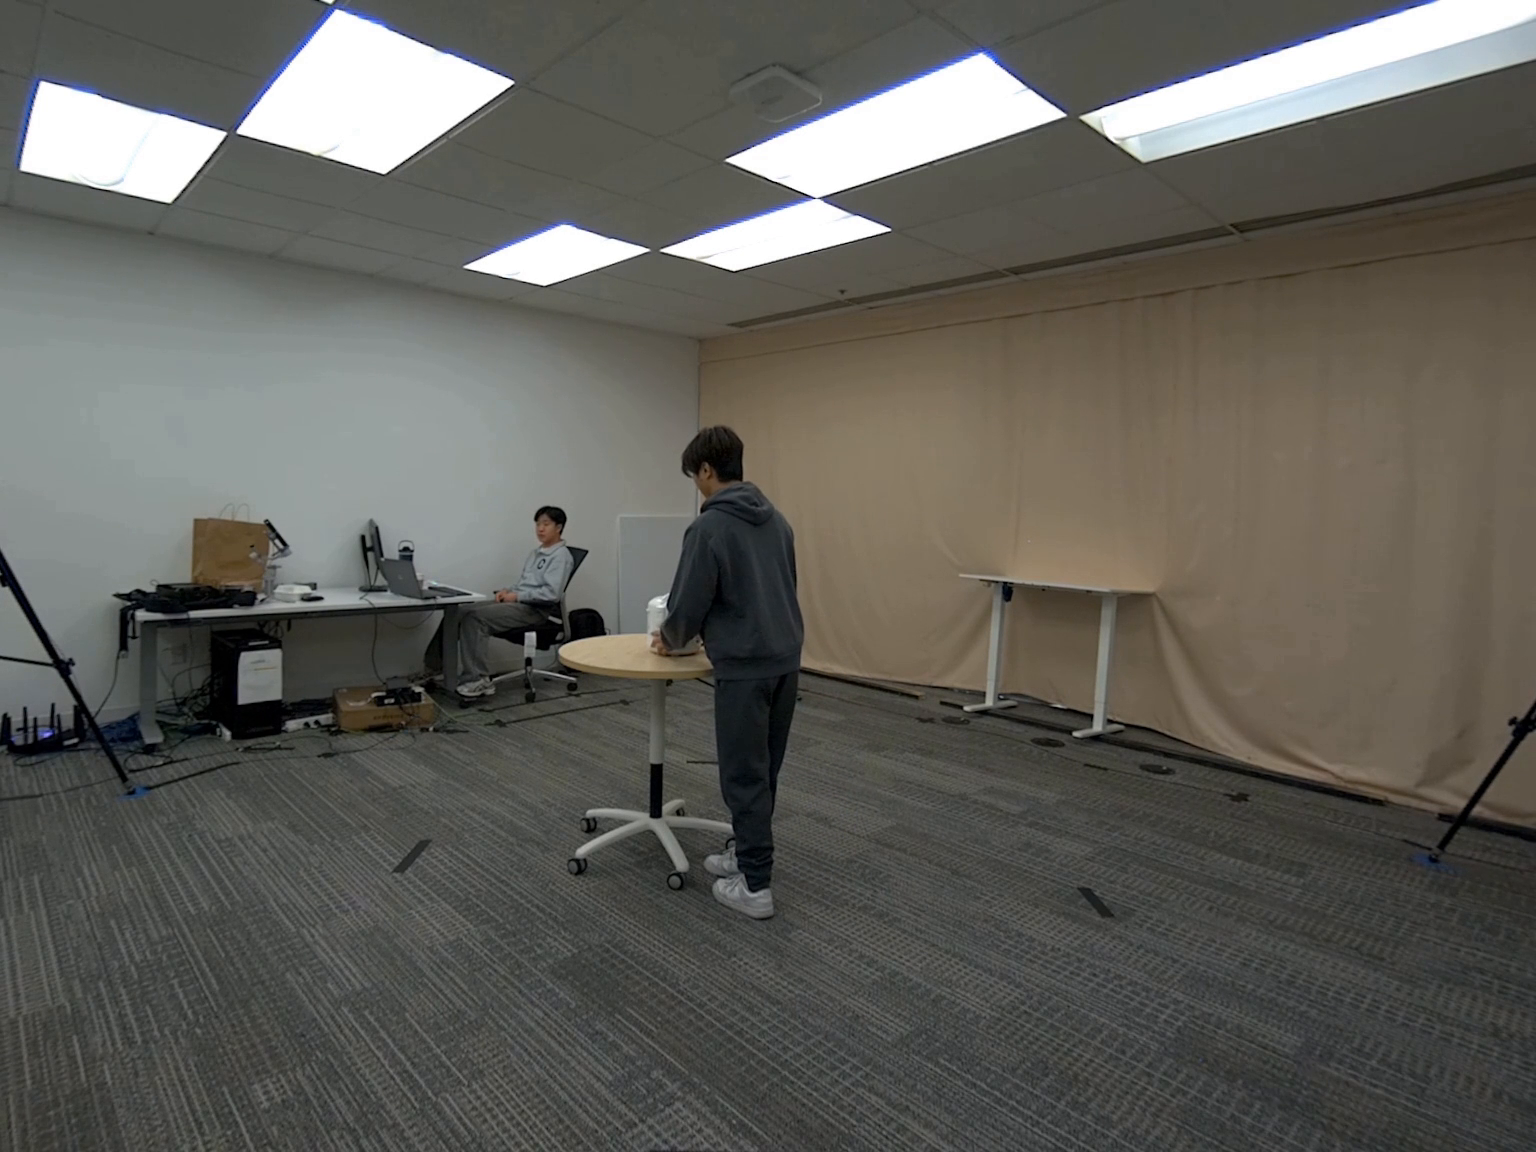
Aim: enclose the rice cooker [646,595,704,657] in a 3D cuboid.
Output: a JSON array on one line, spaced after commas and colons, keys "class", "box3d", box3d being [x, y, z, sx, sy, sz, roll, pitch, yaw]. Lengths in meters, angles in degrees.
[{"class": "rice cooker", "box3d": [-0.369, 0.180, 3.235, 0.222, 0.232, 0.216, 4, 5, 28]}]
